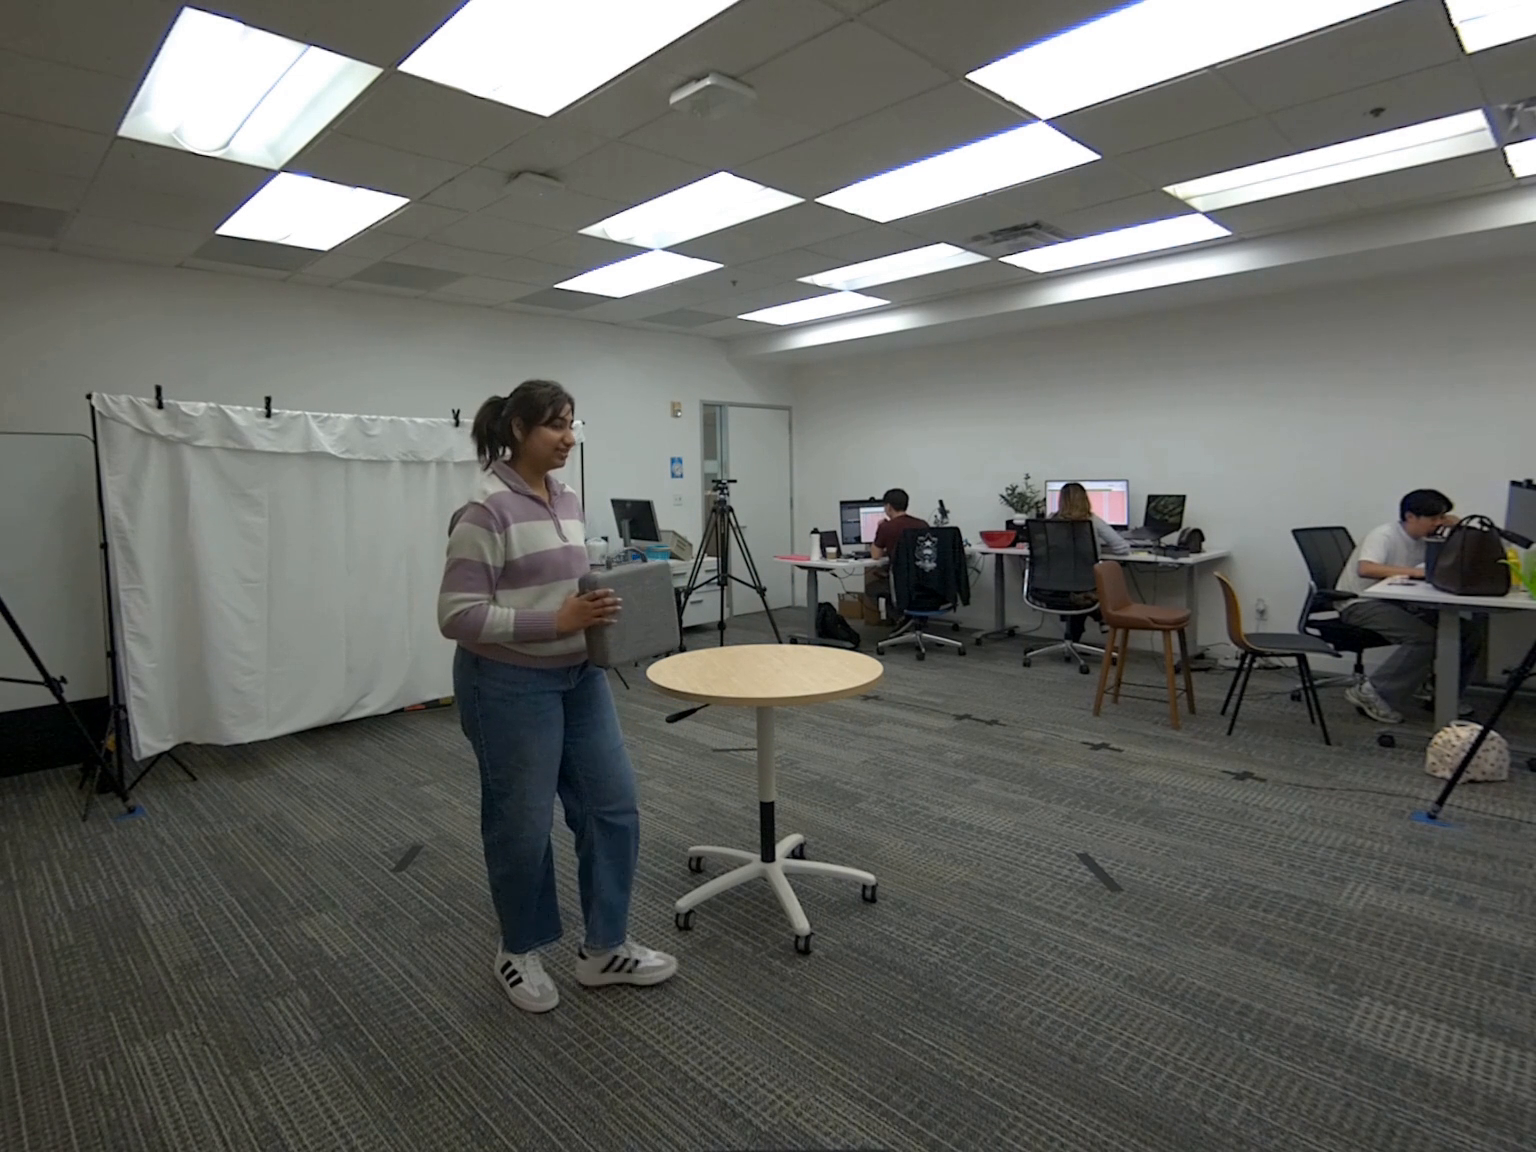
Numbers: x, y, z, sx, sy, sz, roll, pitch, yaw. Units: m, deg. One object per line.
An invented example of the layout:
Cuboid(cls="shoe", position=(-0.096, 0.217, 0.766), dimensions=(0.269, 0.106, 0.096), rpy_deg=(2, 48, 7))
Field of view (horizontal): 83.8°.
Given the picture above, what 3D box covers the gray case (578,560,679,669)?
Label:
Cuboid(cls="gray case", position=(-0.360, 0.089, 2.266), dimensions=(0.251, 0.259, 0.107), rpy_deg=(-13, 8, -37))
